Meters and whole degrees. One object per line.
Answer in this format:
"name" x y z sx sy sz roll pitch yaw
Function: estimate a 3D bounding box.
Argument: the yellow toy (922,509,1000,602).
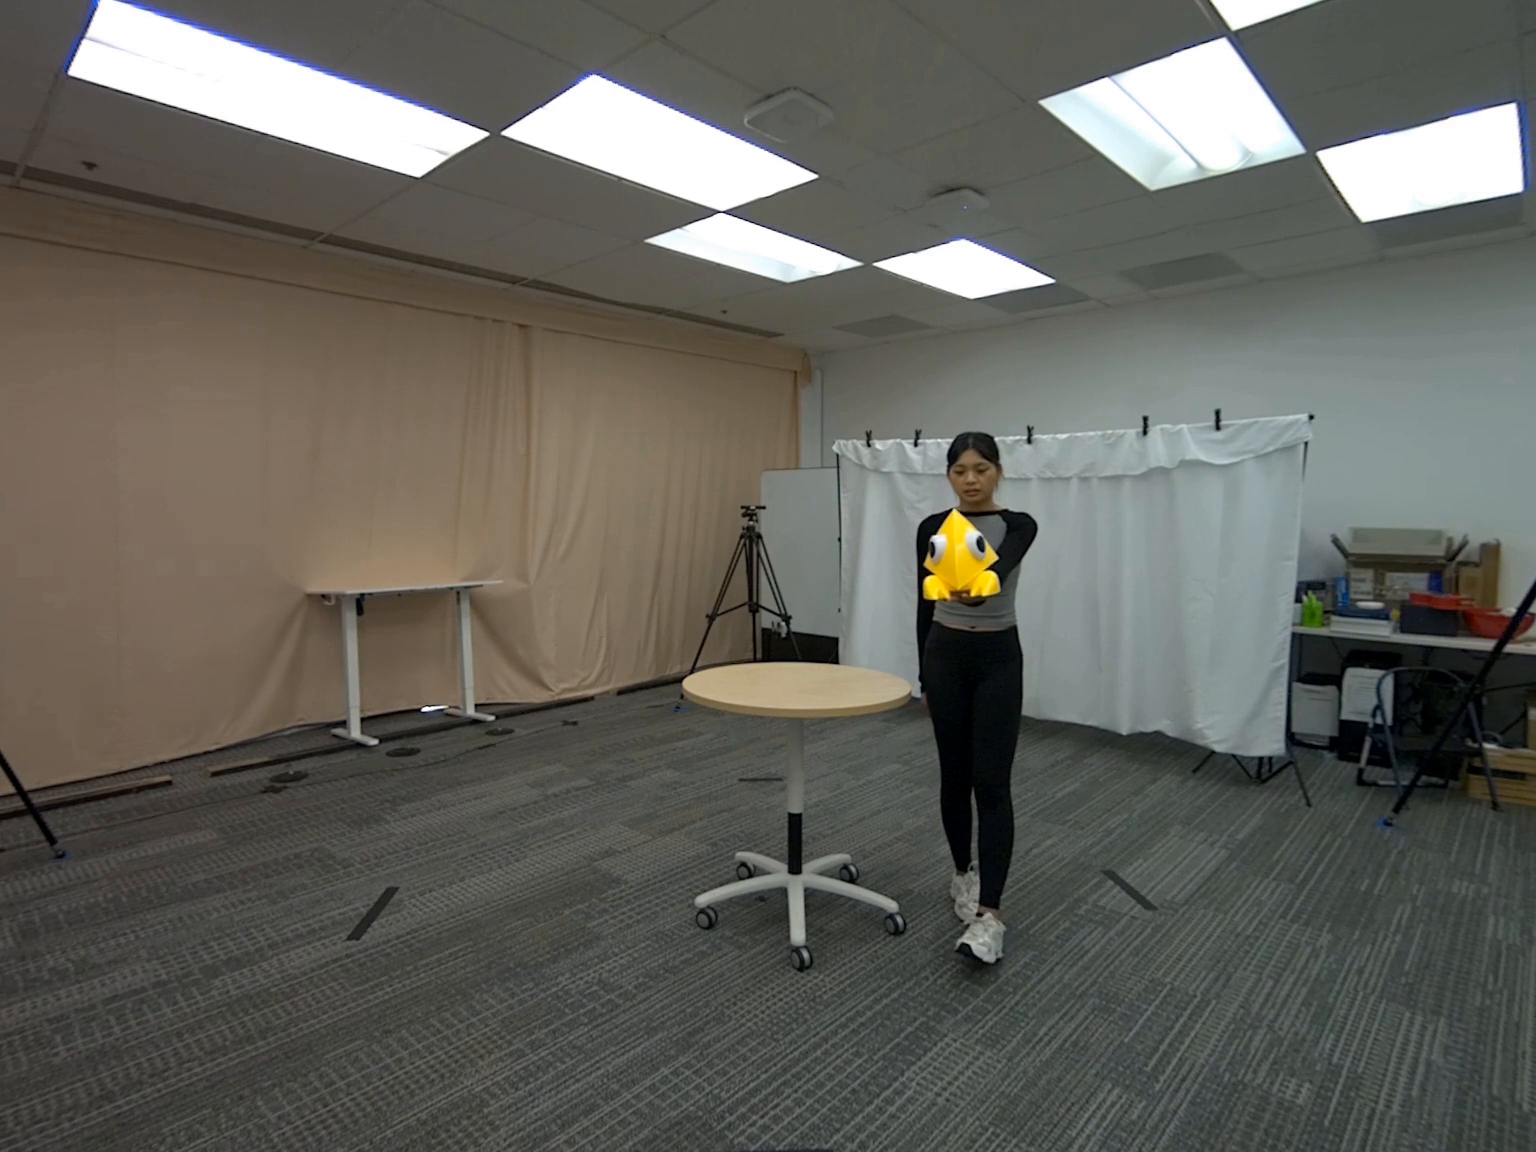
"yellow toy" 0.519 -0.065 2.306 0.209 0.230 0.190 -4 4 18
